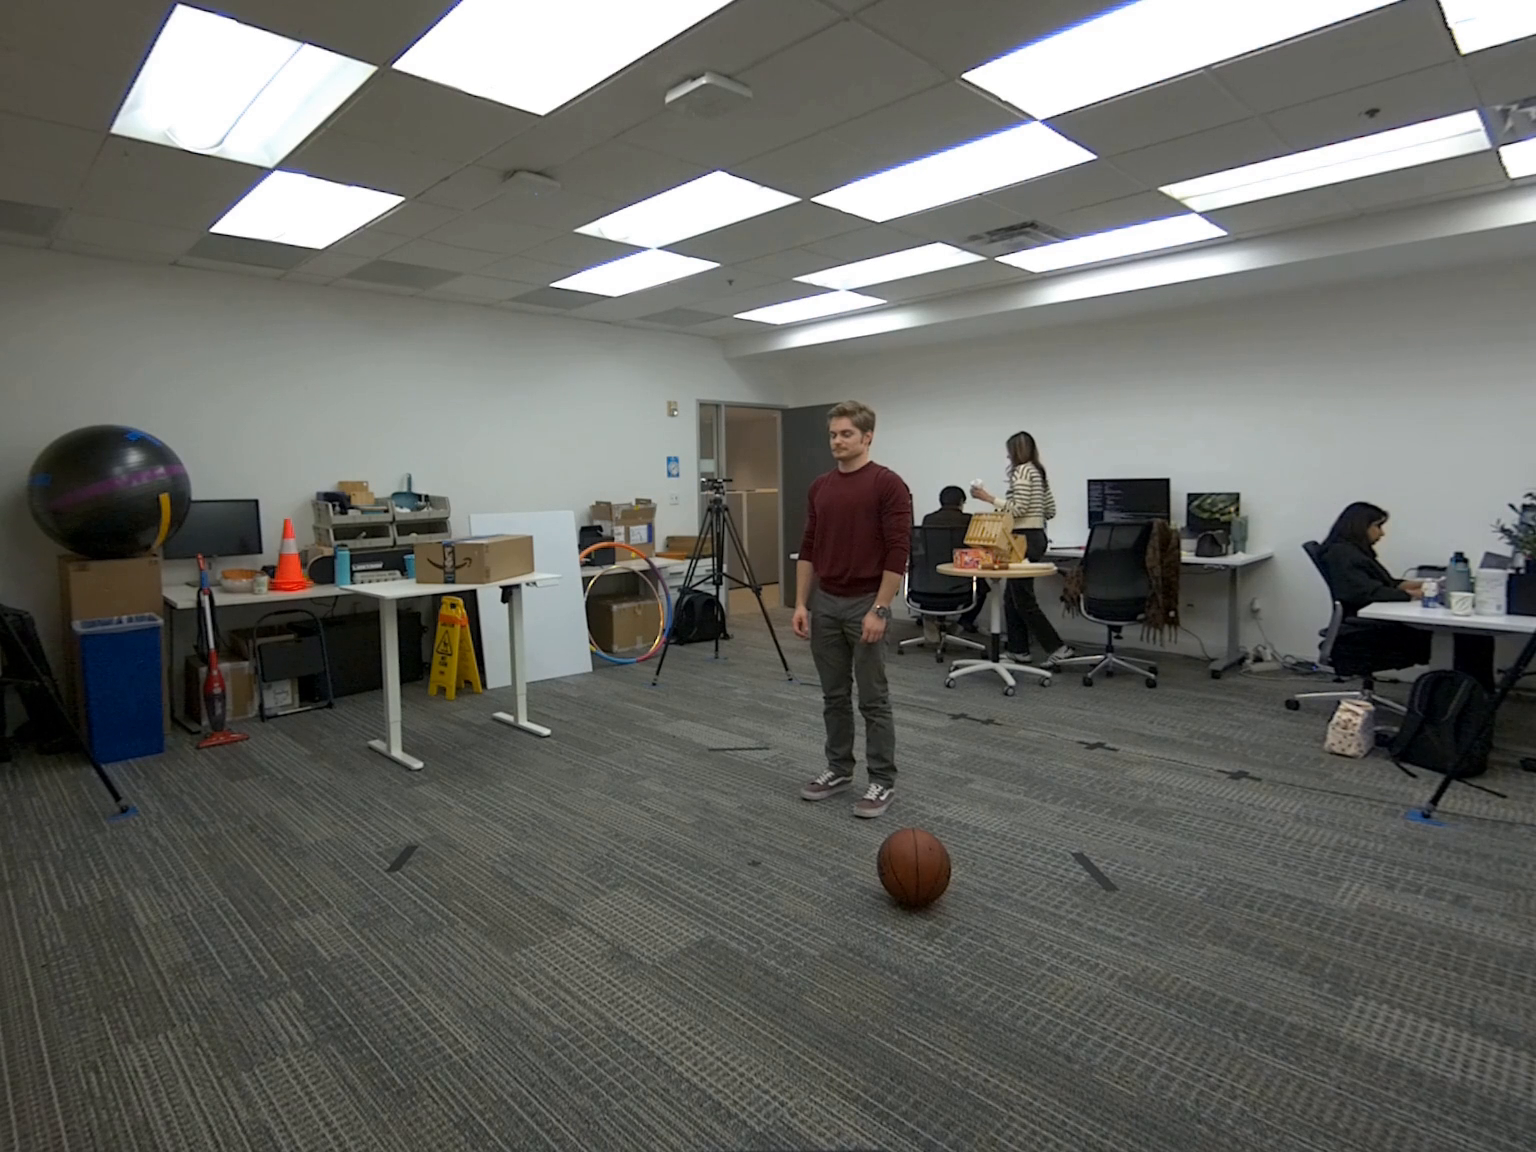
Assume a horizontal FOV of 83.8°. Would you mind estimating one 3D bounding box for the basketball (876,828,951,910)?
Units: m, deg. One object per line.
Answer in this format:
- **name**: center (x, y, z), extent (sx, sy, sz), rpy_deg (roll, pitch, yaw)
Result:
- **basketball**: center (0.484, 0.952, 2.794), extent (0.236, 0.235, 0.237), rpy_deg (-1, 5, -2)
